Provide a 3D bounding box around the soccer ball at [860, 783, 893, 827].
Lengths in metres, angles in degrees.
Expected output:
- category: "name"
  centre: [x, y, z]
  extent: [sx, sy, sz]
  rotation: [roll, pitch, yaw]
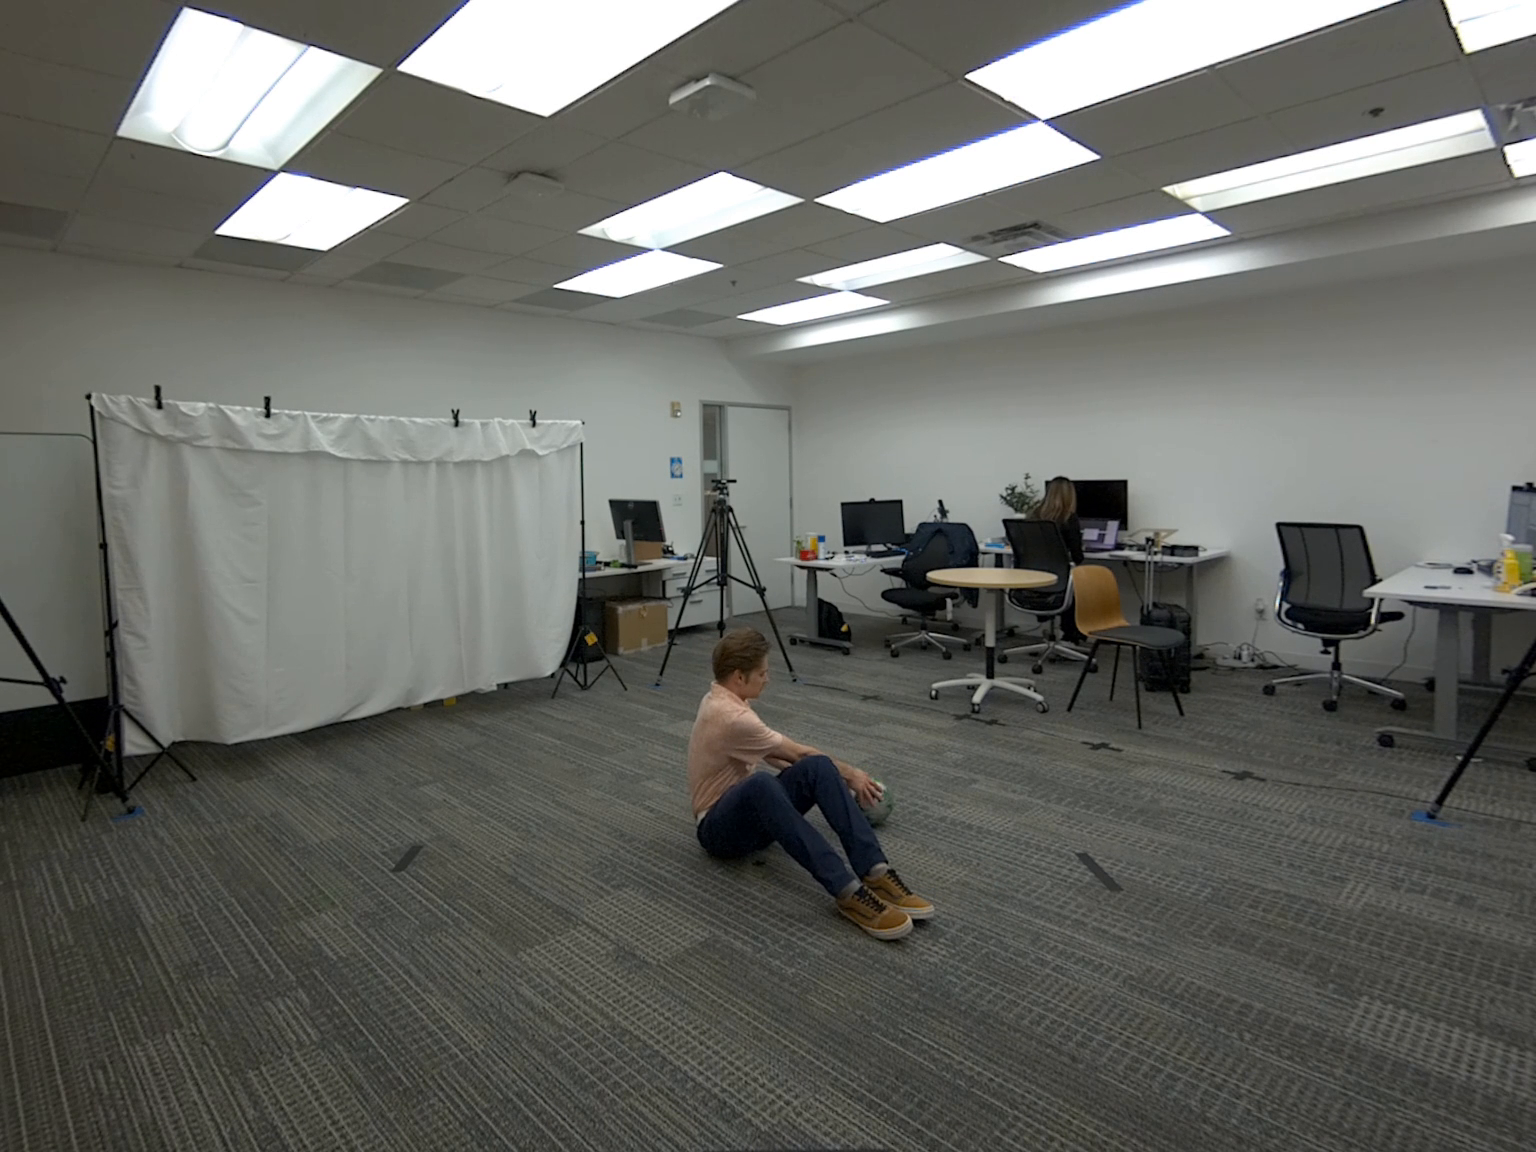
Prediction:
- category: "soccer ball"
  centre: [0.412, 0.897, 3.437]
  extent: [0.187, 0.187, 0.188]
  rotation: [-1, 5, -2]
